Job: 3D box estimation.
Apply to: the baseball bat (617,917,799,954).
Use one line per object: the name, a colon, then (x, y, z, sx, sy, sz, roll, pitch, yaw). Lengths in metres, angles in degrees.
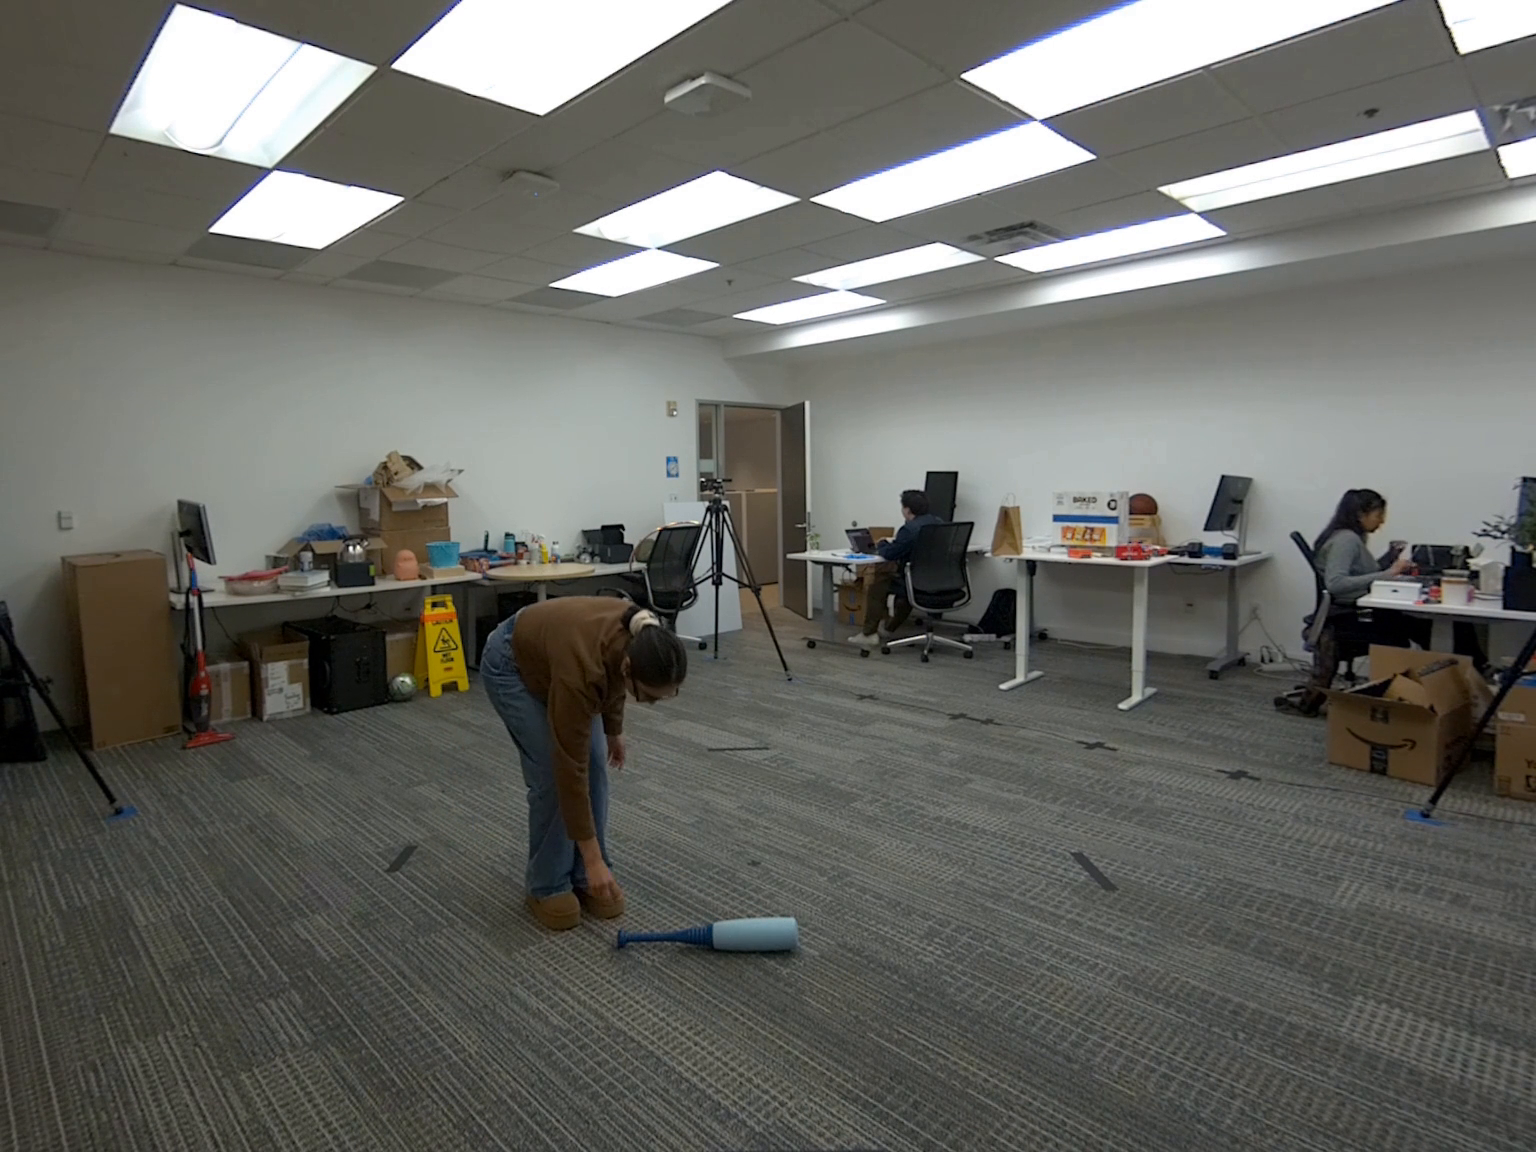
baseball bat: (-0.175, 1.074, 2.549, 0.545, 0.089, 0.089, -3, 5, 4)
